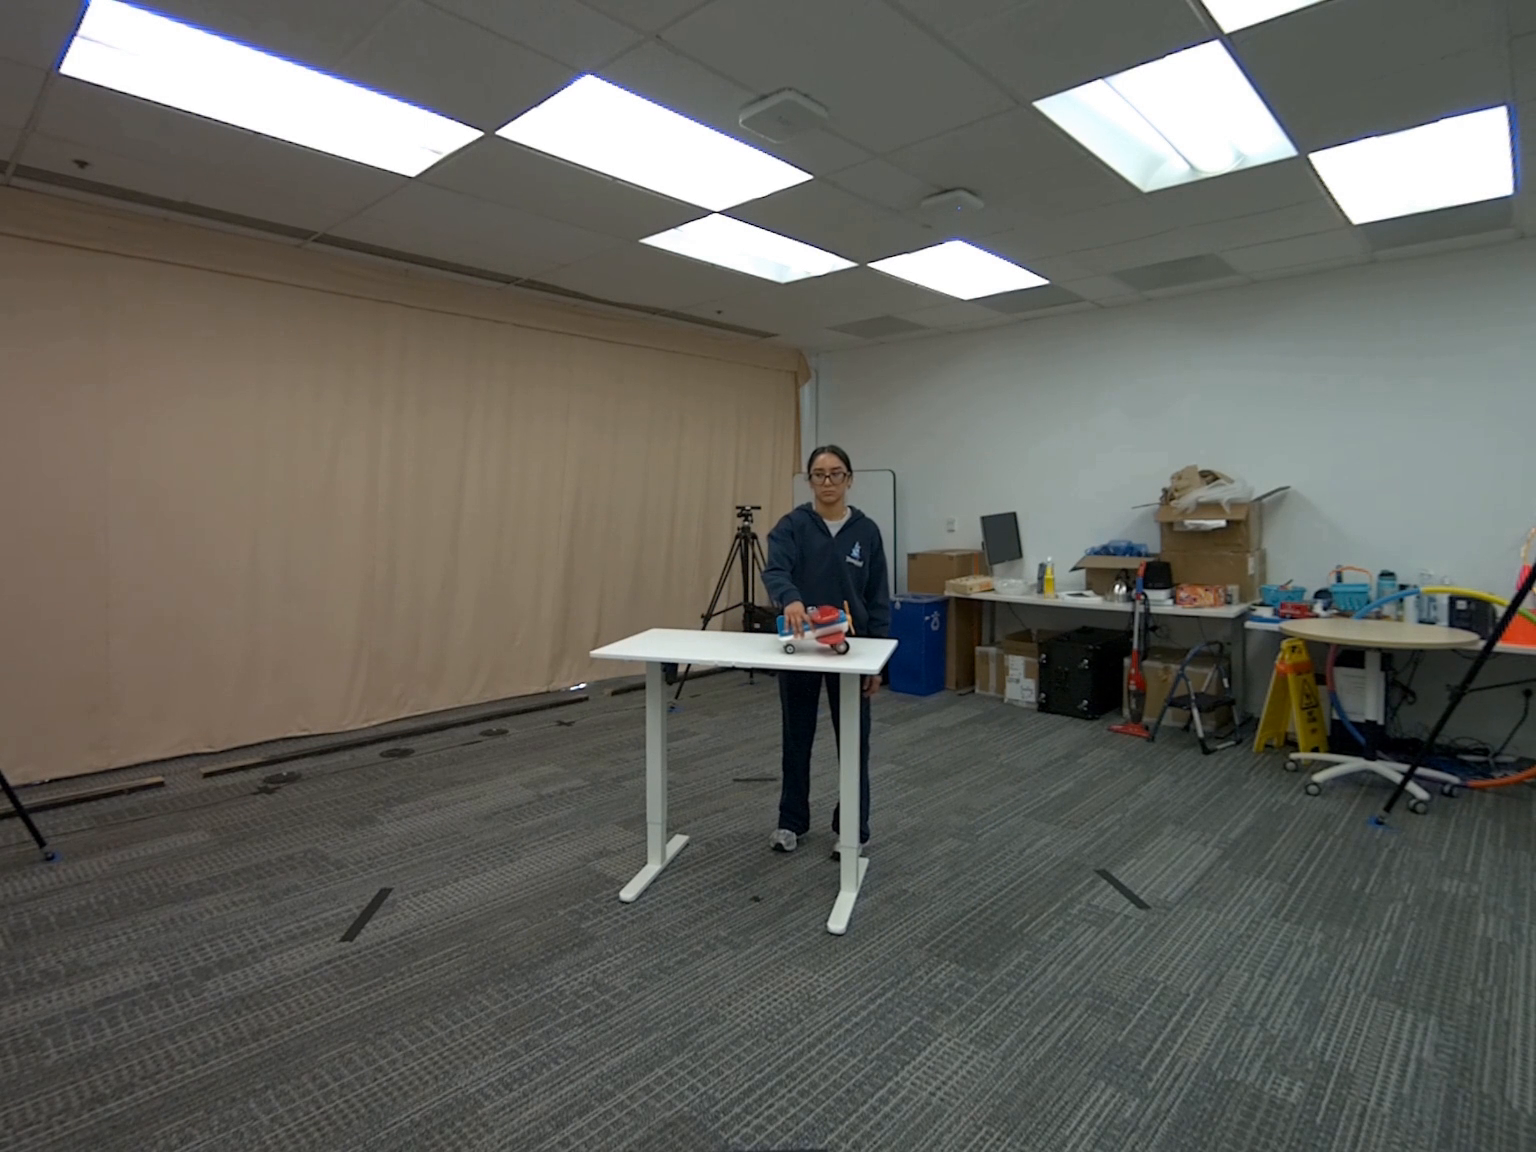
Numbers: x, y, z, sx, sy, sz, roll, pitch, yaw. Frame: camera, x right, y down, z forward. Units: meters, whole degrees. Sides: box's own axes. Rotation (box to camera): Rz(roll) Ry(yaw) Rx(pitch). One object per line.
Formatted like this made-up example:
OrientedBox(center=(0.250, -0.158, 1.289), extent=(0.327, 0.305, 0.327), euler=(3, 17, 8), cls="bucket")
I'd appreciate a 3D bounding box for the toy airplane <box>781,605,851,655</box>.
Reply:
OrientedBox(center=(0.185, 0.189, 2.912), extent=(0.252, 0.156, 0.259), euler=(-3, 5, -32), cls="toy airplane")
